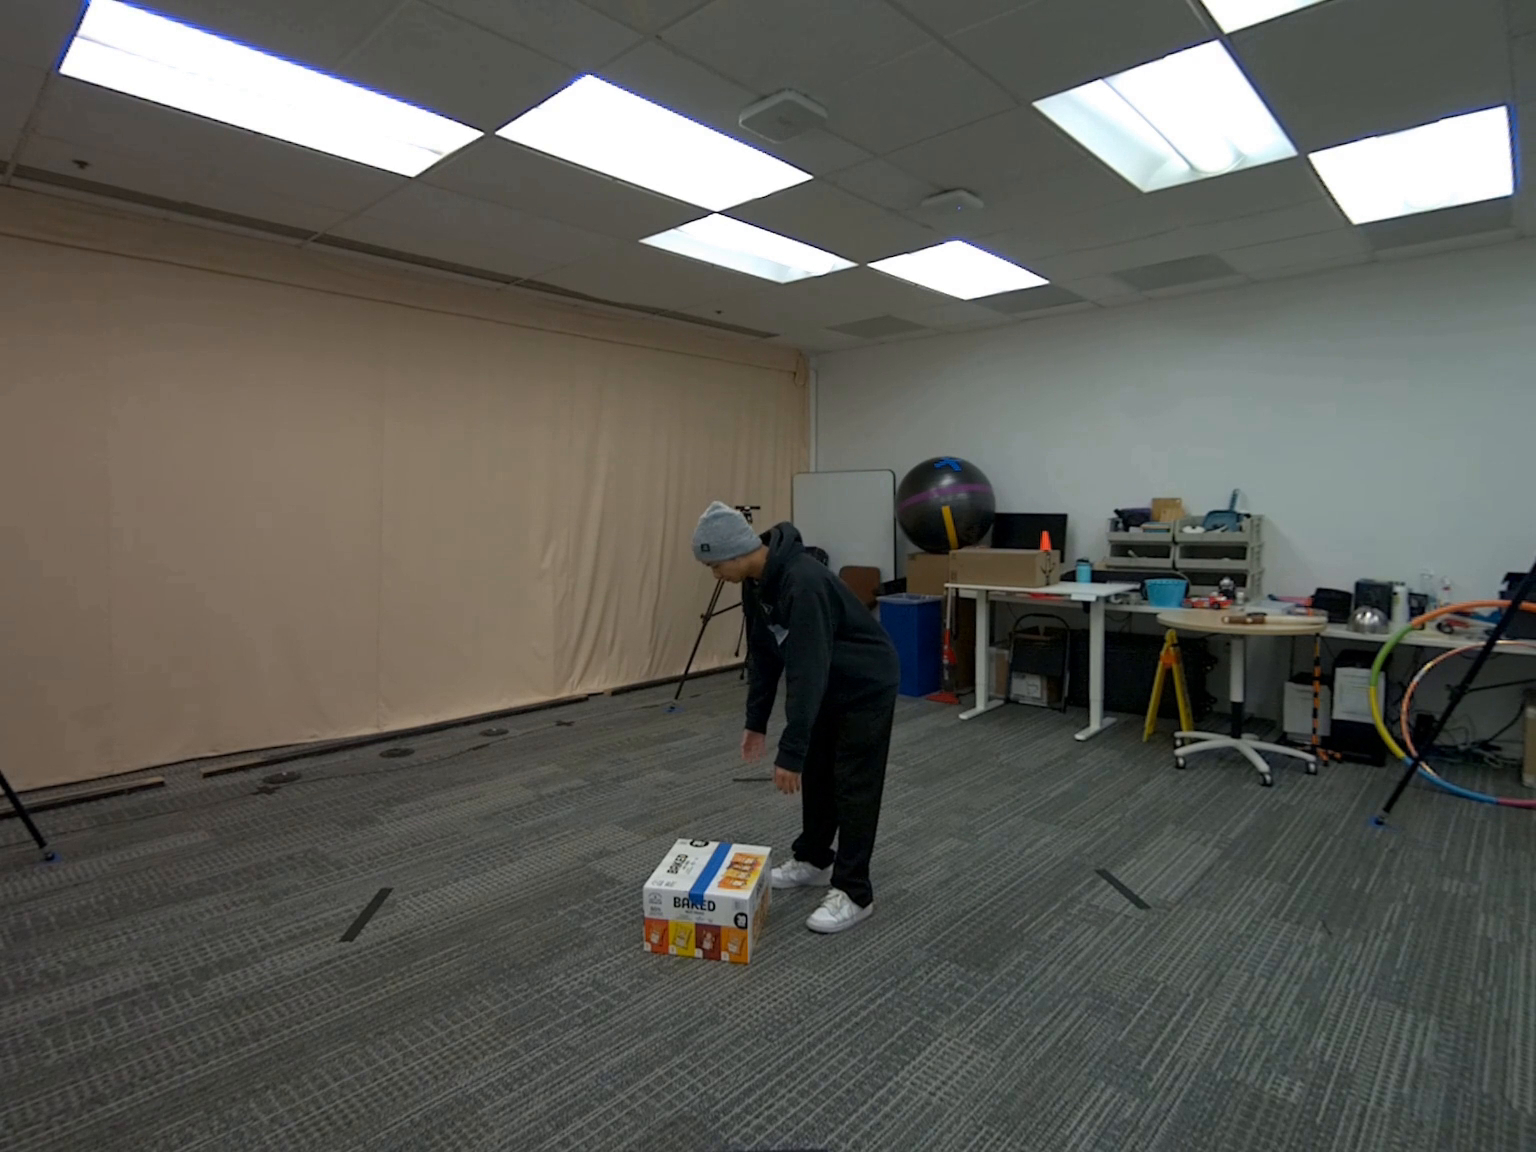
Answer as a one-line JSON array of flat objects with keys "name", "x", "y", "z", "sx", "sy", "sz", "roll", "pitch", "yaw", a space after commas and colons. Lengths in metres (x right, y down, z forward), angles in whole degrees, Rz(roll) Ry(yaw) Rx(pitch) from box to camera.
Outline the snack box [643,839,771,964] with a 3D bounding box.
[{"name": "snack box", "x": -0.187, "y": 1.061, "z": 2.783, "sx": 0.345, "sy": 0.205, "sz": 0.400, "roll": 1, "pitch": 4, "yaw": 12}]
